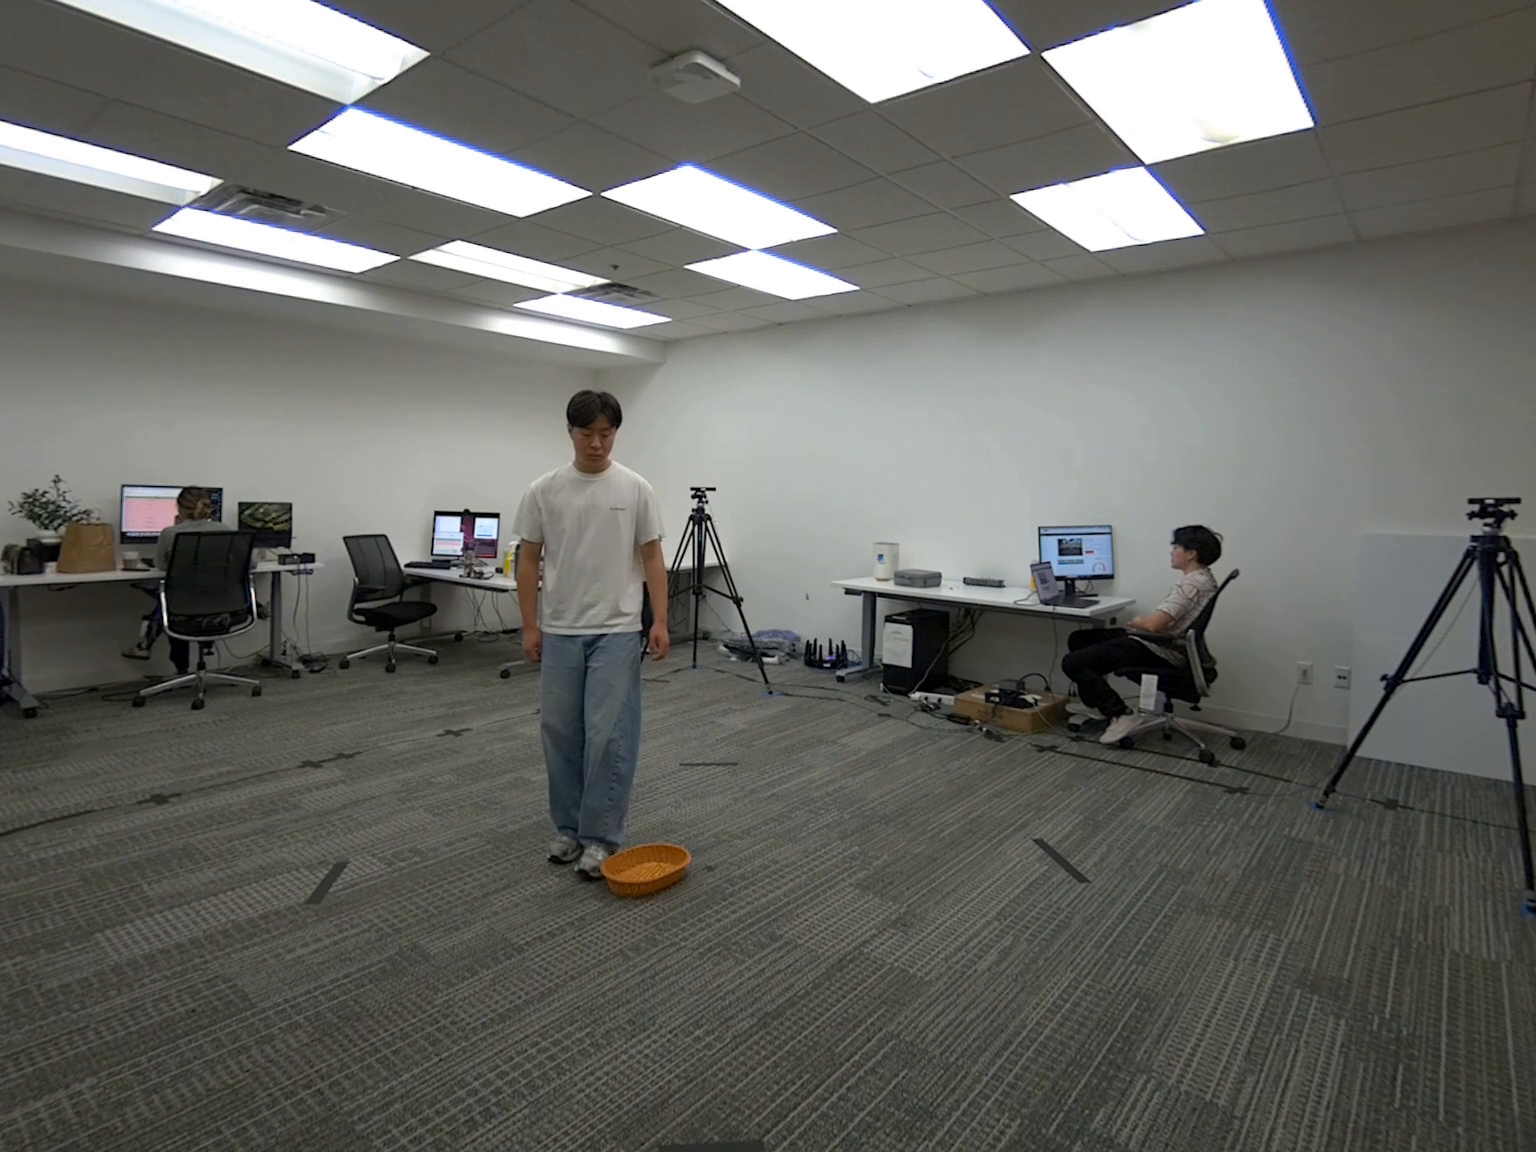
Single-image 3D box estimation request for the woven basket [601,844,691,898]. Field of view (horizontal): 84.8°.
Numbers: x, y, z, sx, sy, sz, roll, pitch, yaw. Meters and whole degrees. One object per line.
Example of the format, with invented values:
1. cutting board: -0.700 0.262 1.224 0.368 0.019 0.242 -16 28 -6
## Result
1. woven basket: -0.429 1.032 2.993 0.261 0.073 0.340 6 8 42
